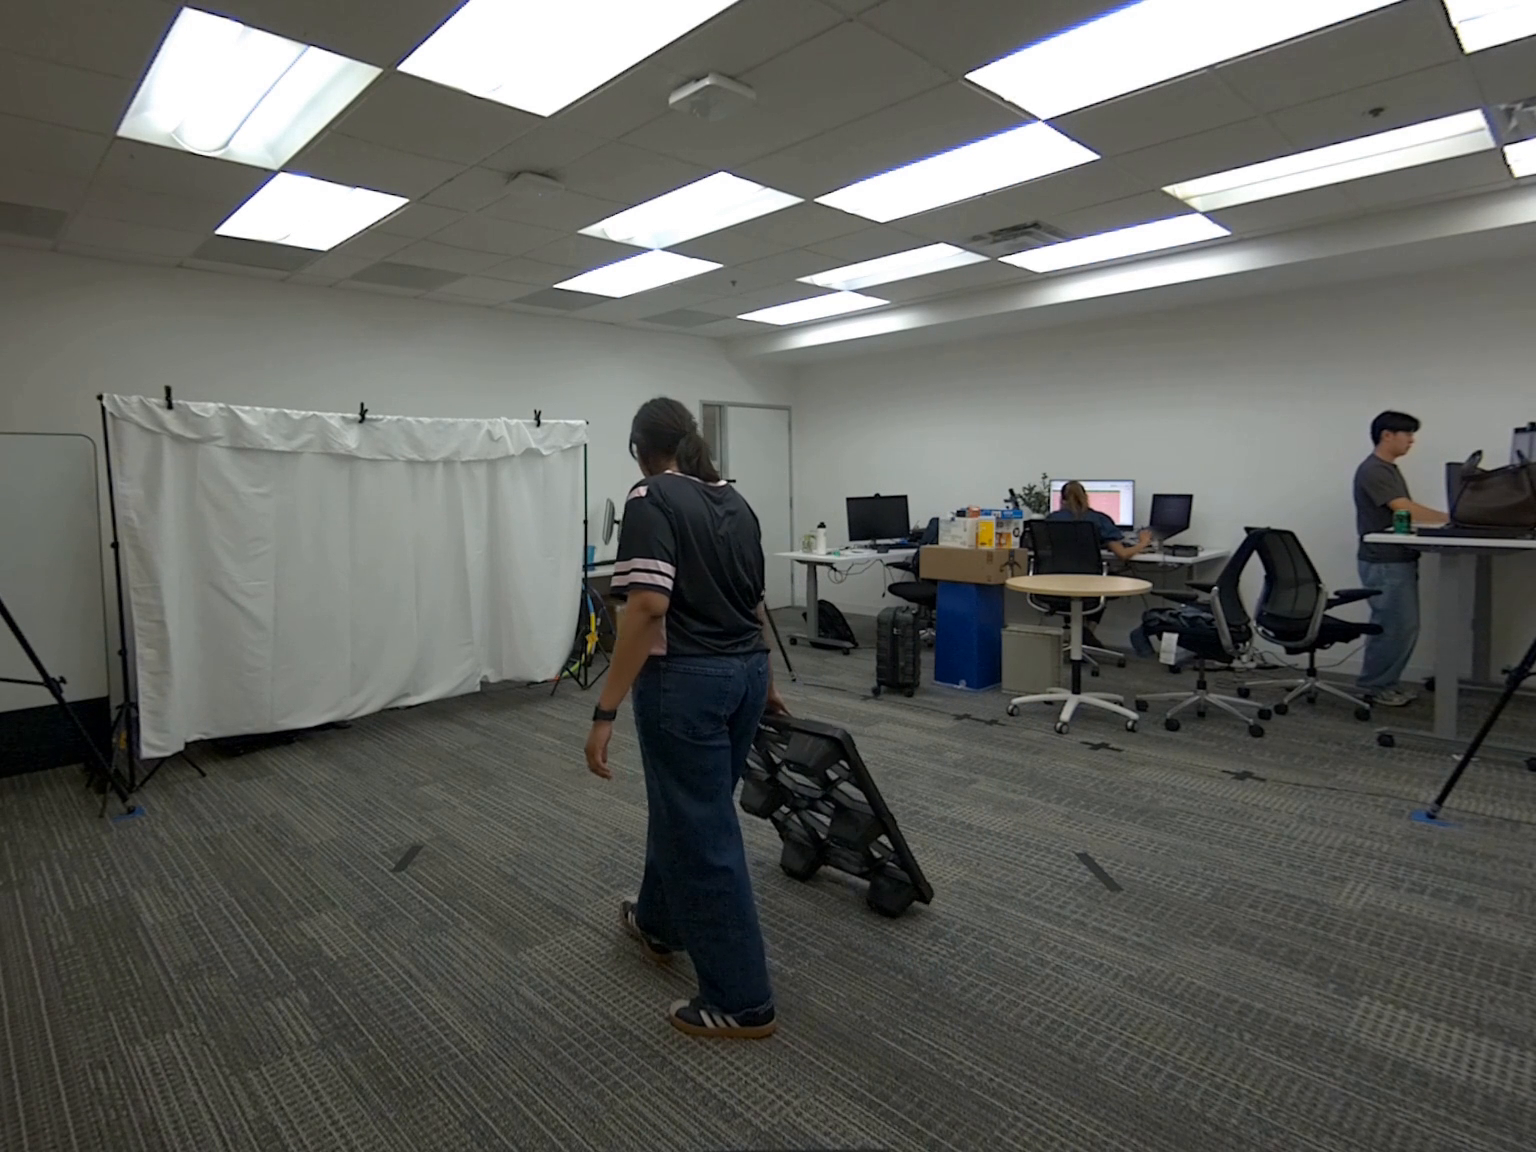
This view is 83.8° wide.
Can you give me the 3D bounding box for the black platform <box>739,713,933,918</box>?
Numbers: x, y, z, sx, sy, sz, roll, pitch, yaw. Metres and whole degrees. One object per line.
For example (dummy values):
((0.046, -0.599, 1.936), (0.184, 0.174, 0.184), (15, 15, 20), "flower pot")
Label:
((0.130, 0.749, 2.732), (0.624, 0.781, 0.143), (5, 42, 45), "black platform")
